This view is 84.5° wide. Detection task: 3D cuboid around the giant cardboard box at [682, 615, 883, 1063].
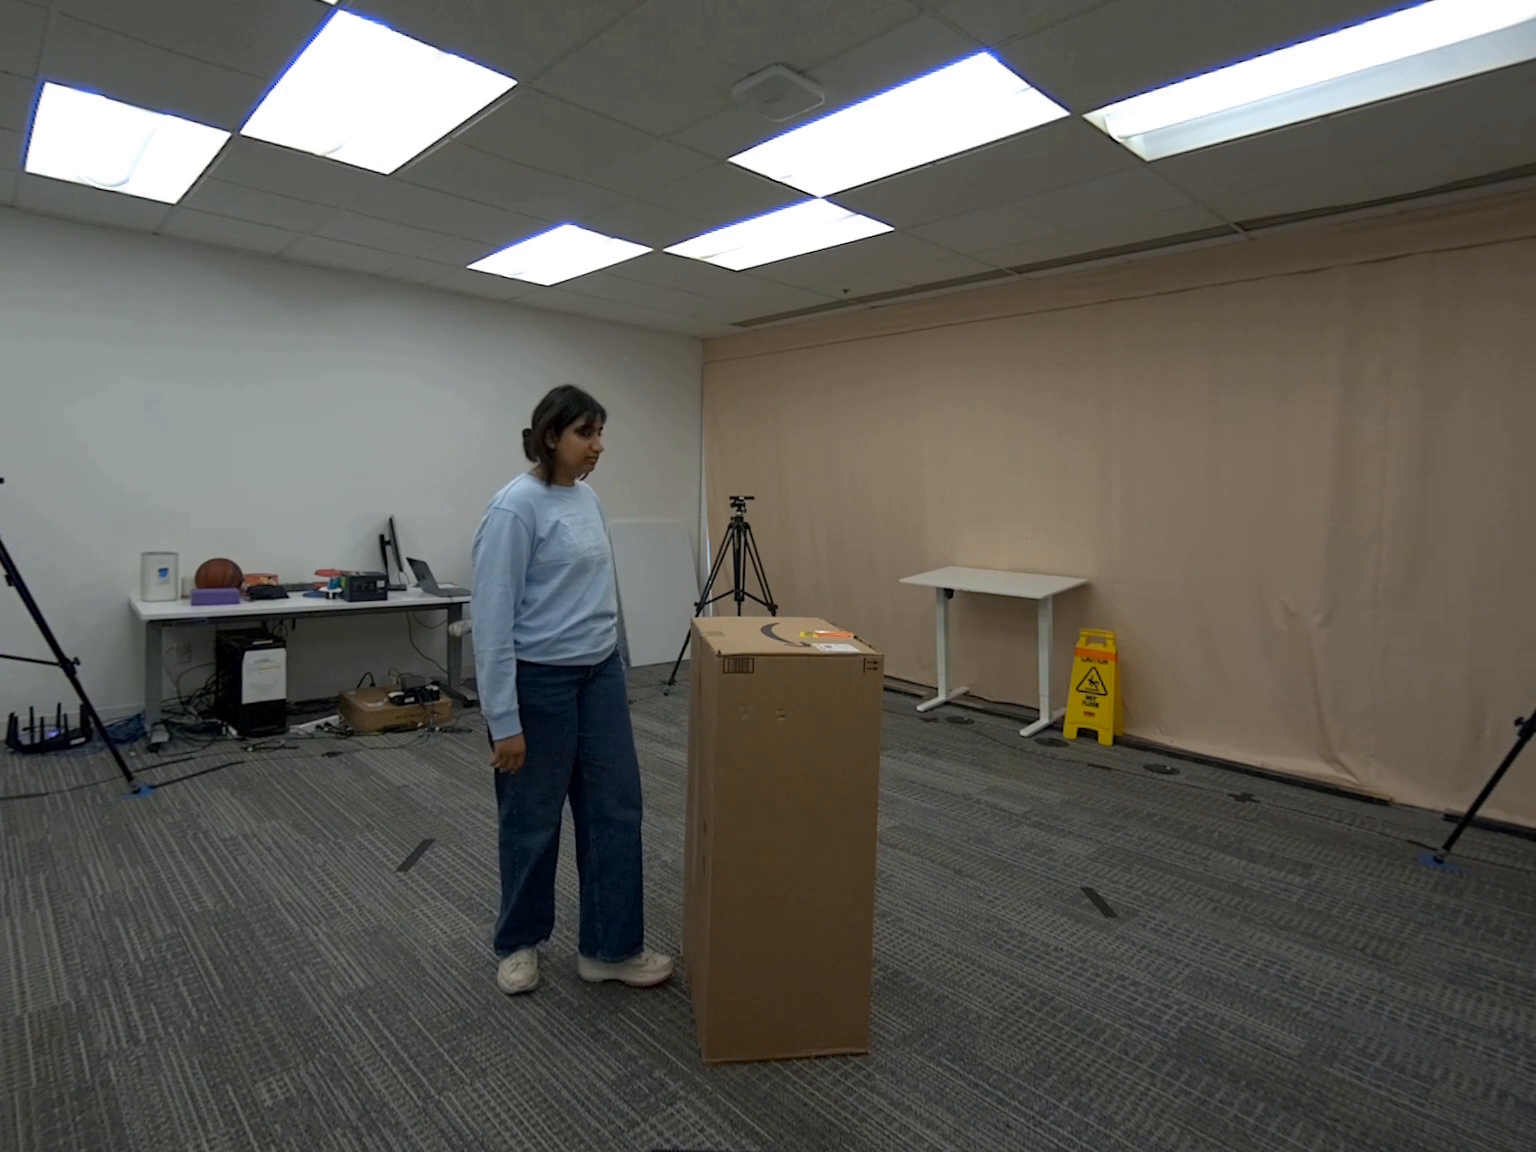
[{"bbox_3d":[0.010,0.670,2.341,0.422,1.023,0.584,1,4,-12],"label":"giant cardboard box"}]
